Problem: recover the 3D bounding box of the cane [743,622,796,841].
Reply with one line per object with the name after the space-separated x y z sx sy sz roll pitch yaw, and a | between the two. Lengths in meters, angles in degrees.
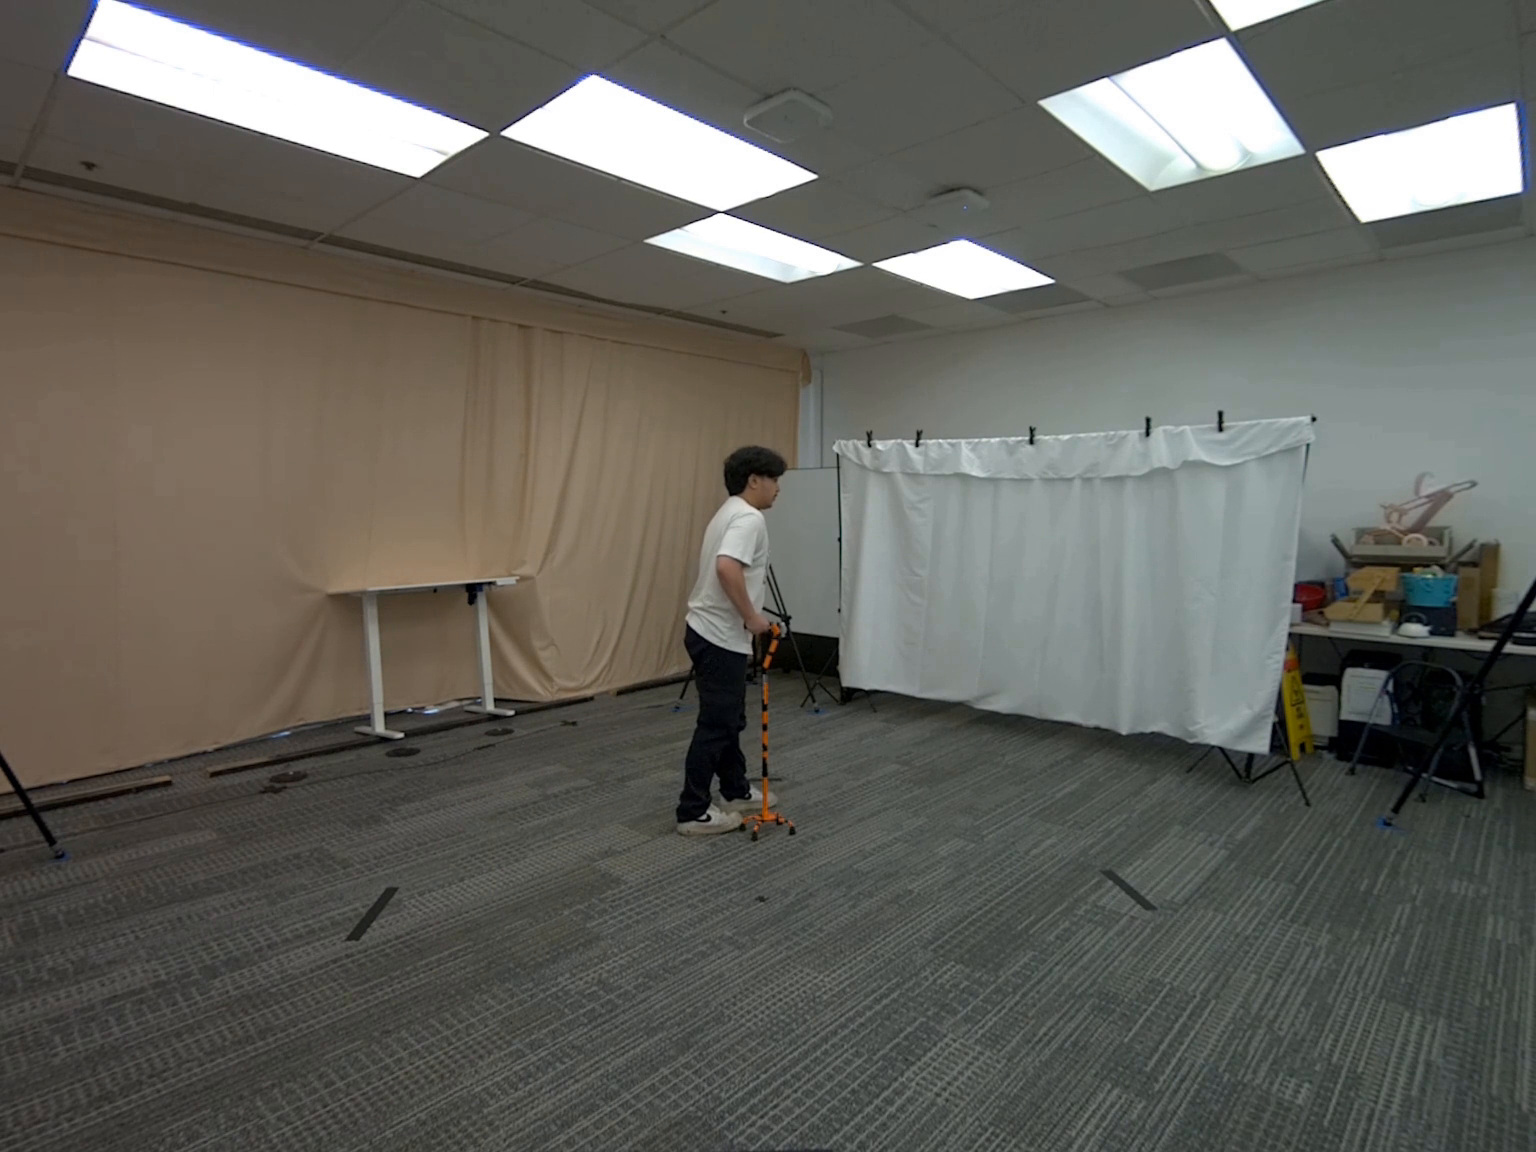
0.008 0.641 3.571 0.201 0.906 0.155 0 4 -25 | cane
